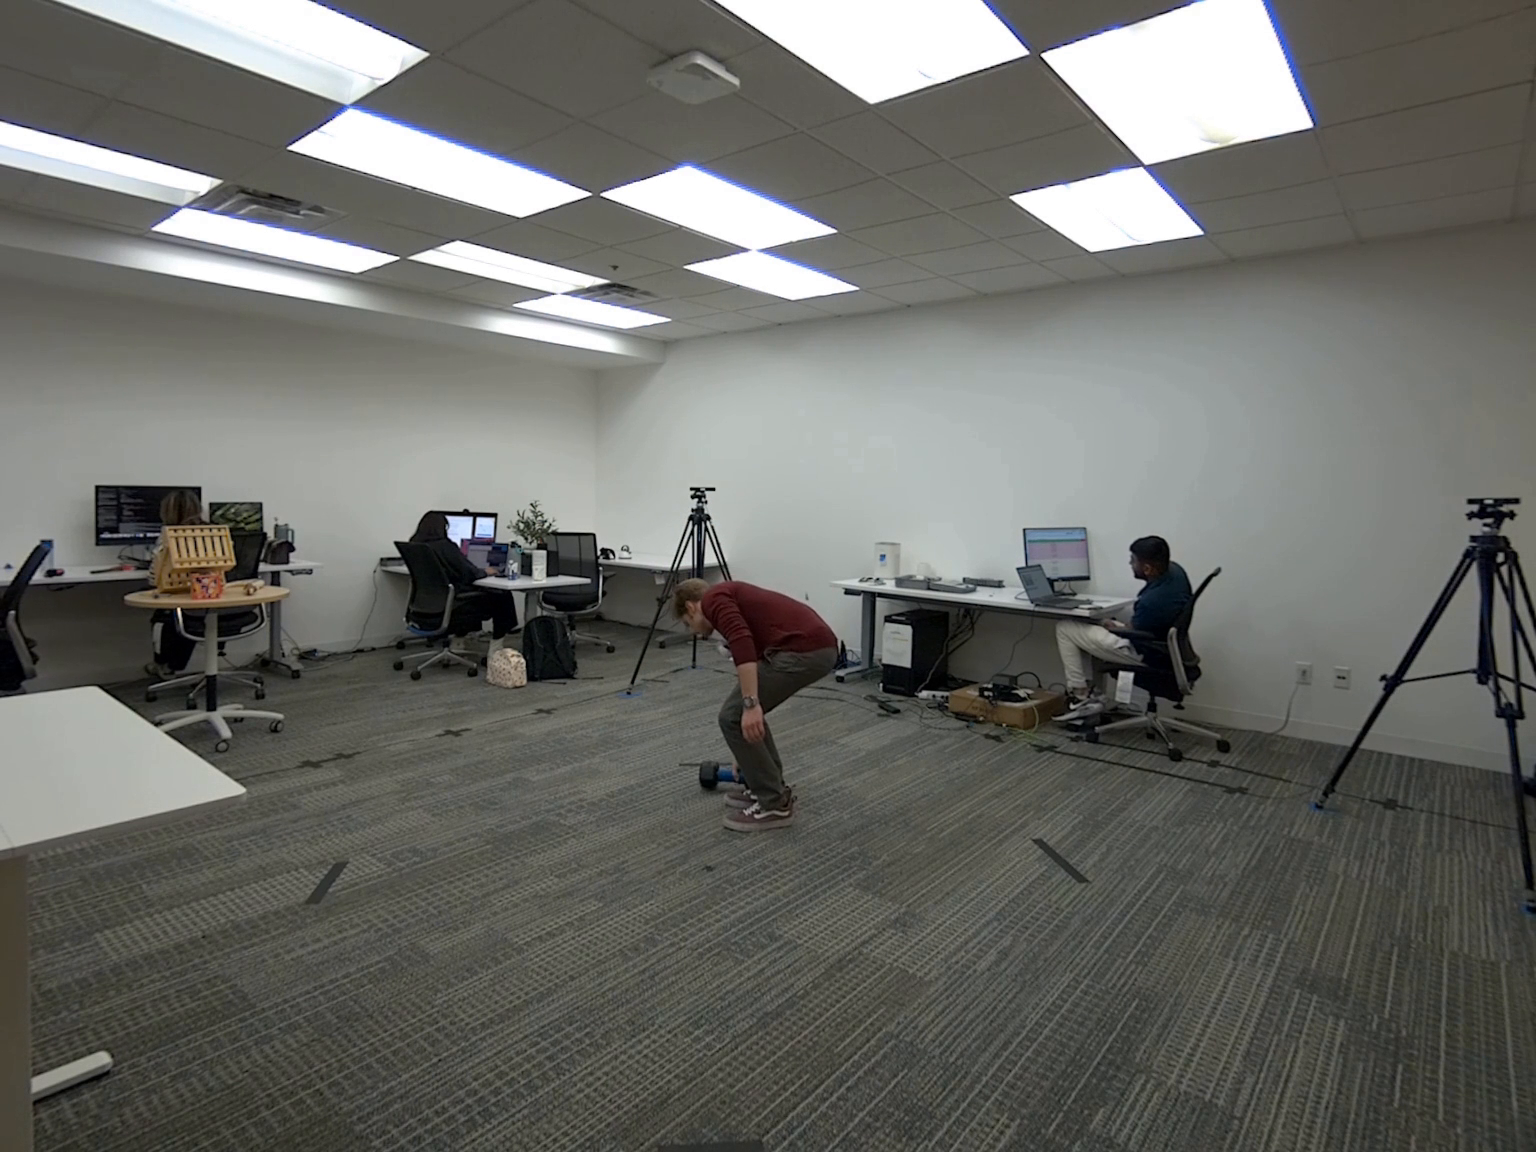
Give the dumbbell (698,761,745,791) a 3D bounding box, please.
[{"bbox_3d":[-0.175,0.910,3.924,0.297,0.125,0.105,1,-25,11],"label":"dumbbell"}]
